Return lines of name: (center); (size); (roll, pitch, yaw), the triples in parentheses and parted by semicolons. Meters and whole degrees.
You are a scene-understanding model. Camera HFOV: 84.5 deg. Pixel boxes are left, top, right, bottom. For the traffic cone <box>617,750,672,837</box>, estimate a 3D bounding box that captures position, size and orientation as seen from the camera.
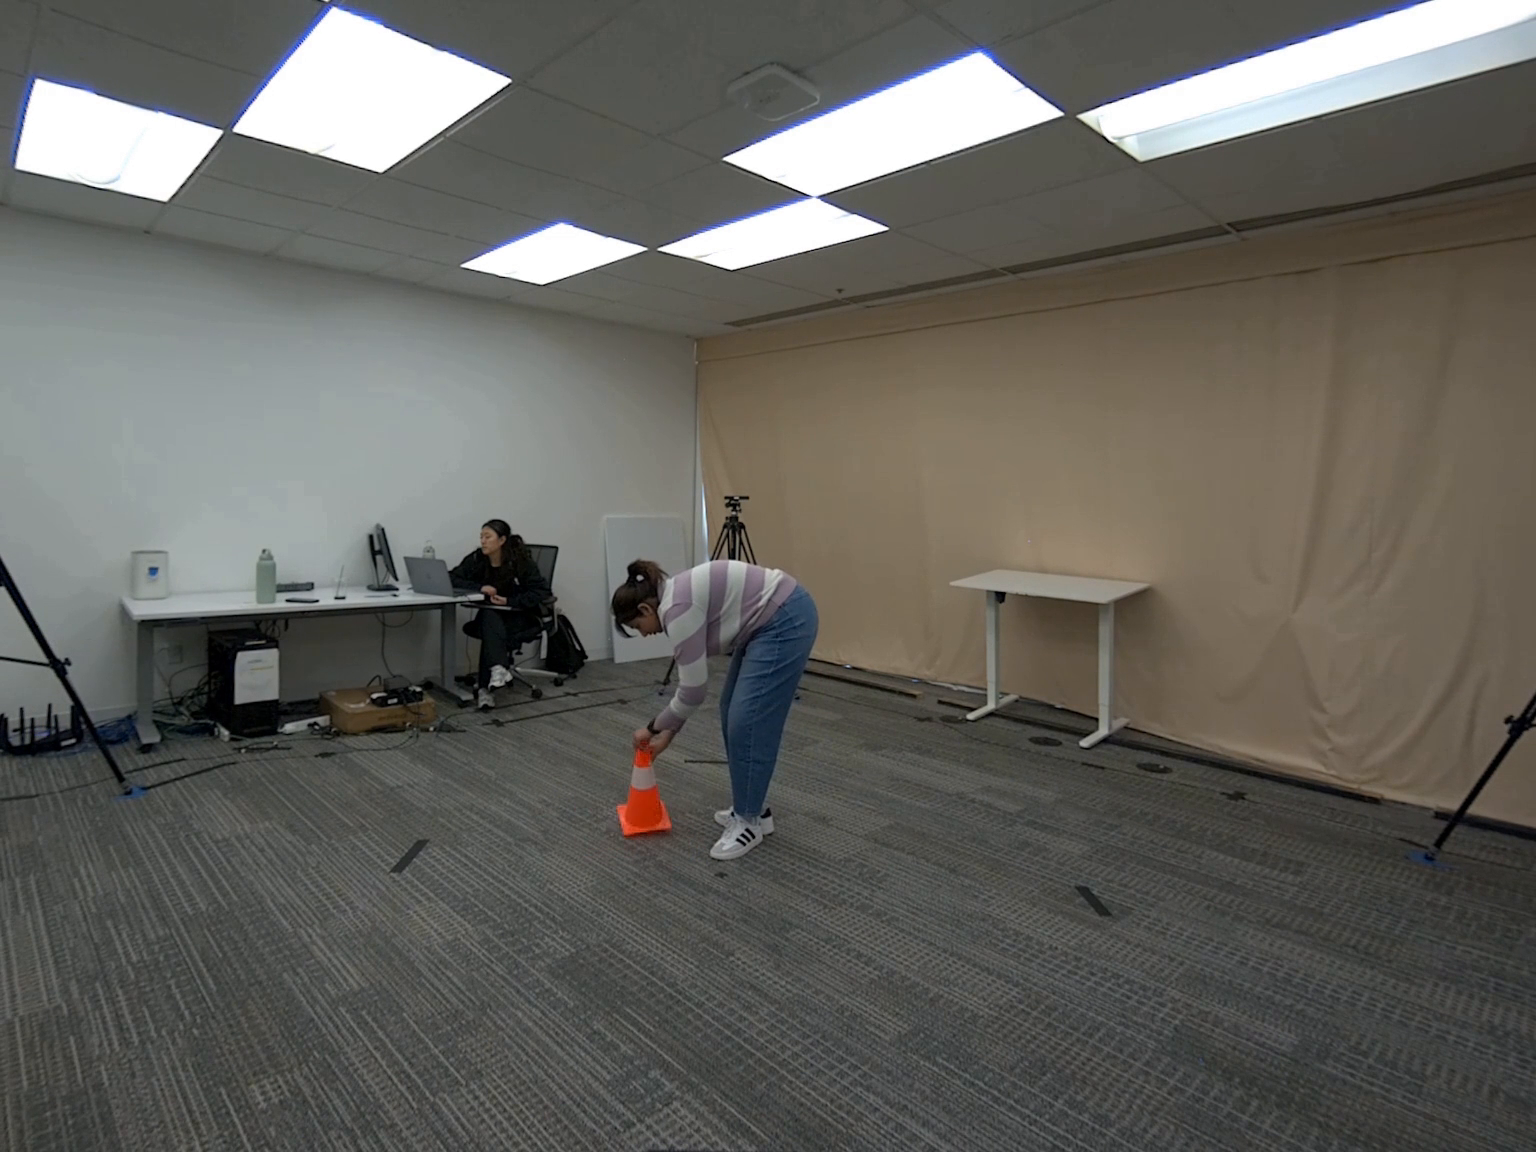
traffic cone: (-0.522, 0.830, 3.455); (0.200, 0.380, 0.210); (-3, 16, -22)
